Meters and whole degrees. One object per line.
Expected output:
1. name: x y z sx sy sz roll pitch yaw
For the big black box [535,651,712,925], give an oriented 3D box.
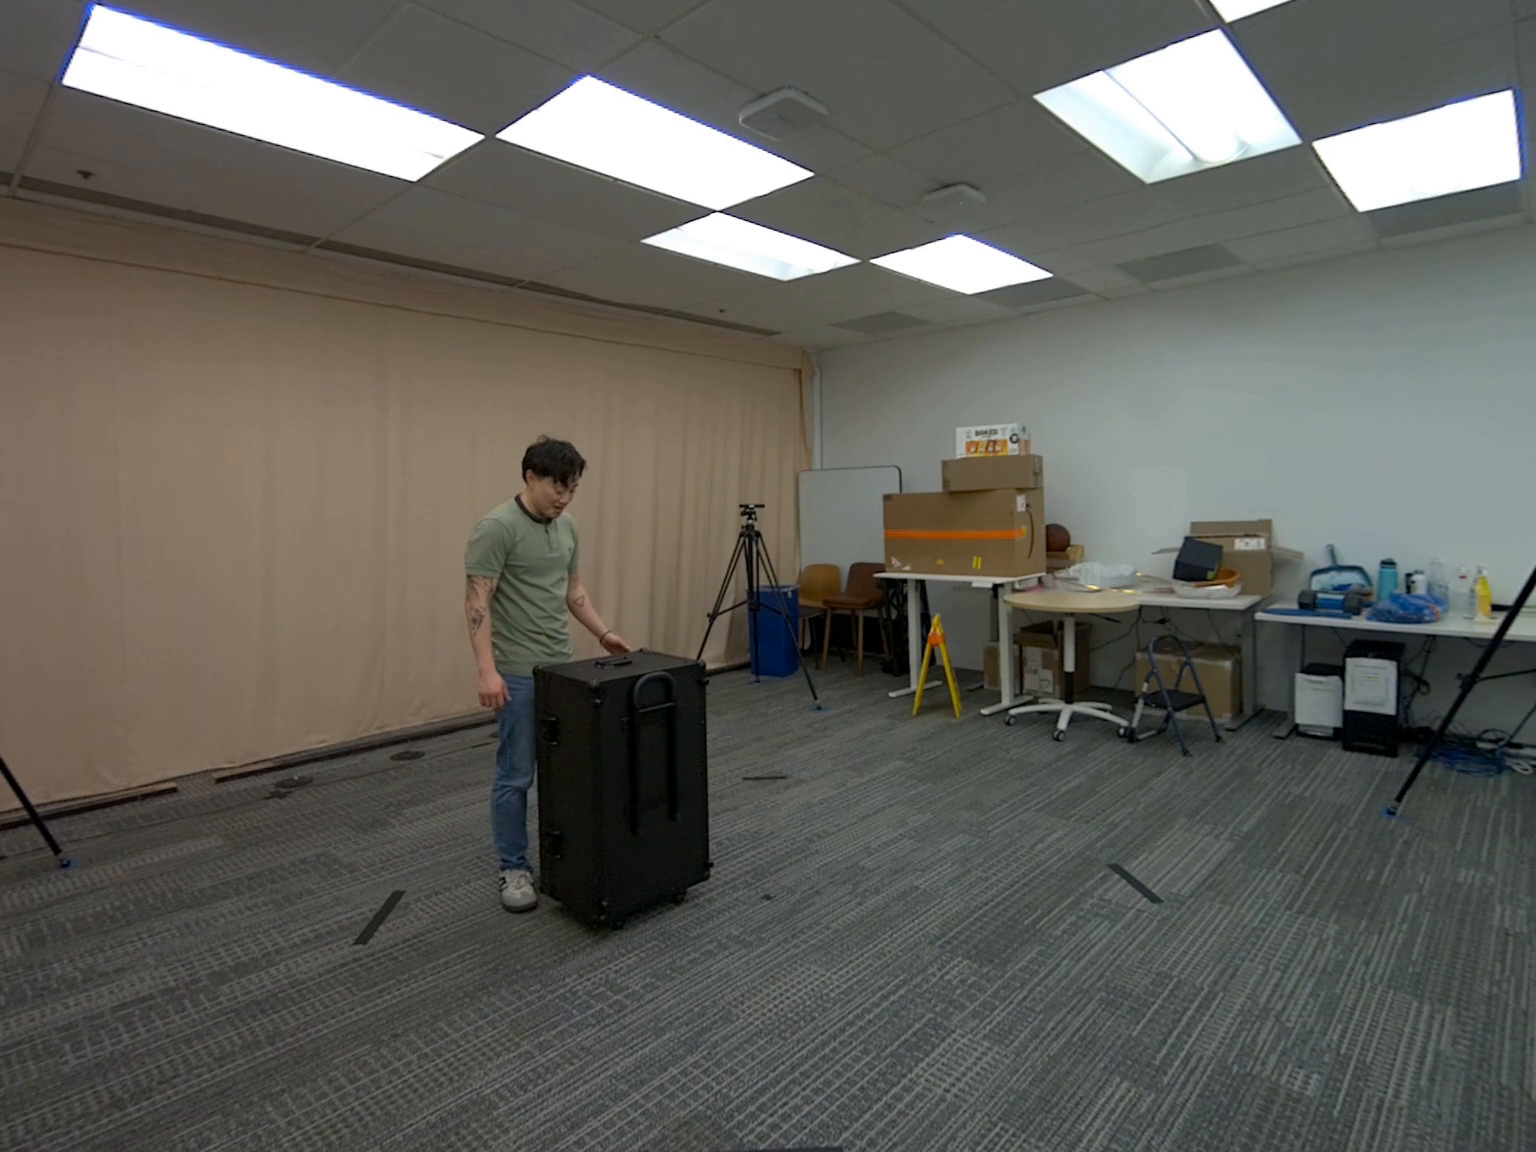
1. big black box: -0.489 0.730 2.922 0.505 0.859 0.409 -4 5 -45
